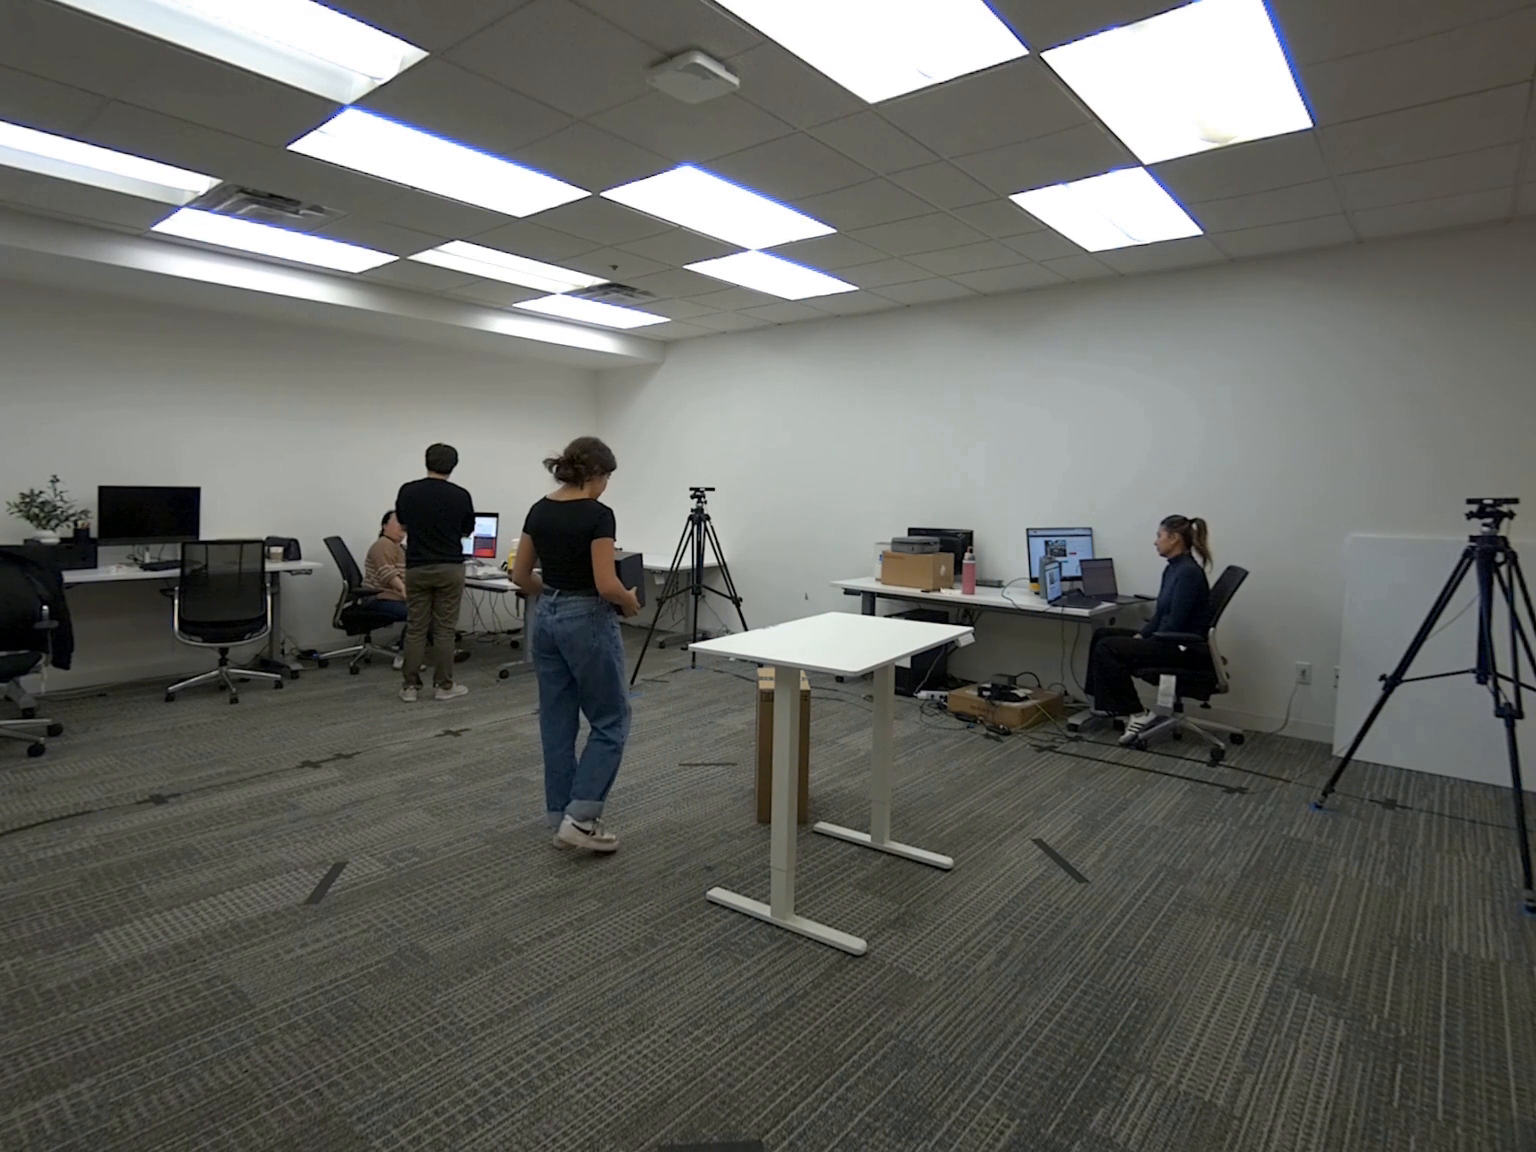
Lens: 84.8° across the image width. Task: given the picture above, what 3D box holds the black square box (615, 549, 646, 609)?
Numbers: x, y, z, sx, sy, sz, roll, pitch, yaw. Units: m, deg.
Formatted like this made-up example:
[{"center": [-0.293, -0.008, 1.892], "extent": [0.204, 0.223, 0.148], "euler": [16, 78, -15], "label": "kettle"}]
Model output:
[{"center": [-0.645, 0.018, 3.469], "extent": [0.223, 0.225, 0.153], "euler": [5, 12, 28], "label": "black square box"}]
